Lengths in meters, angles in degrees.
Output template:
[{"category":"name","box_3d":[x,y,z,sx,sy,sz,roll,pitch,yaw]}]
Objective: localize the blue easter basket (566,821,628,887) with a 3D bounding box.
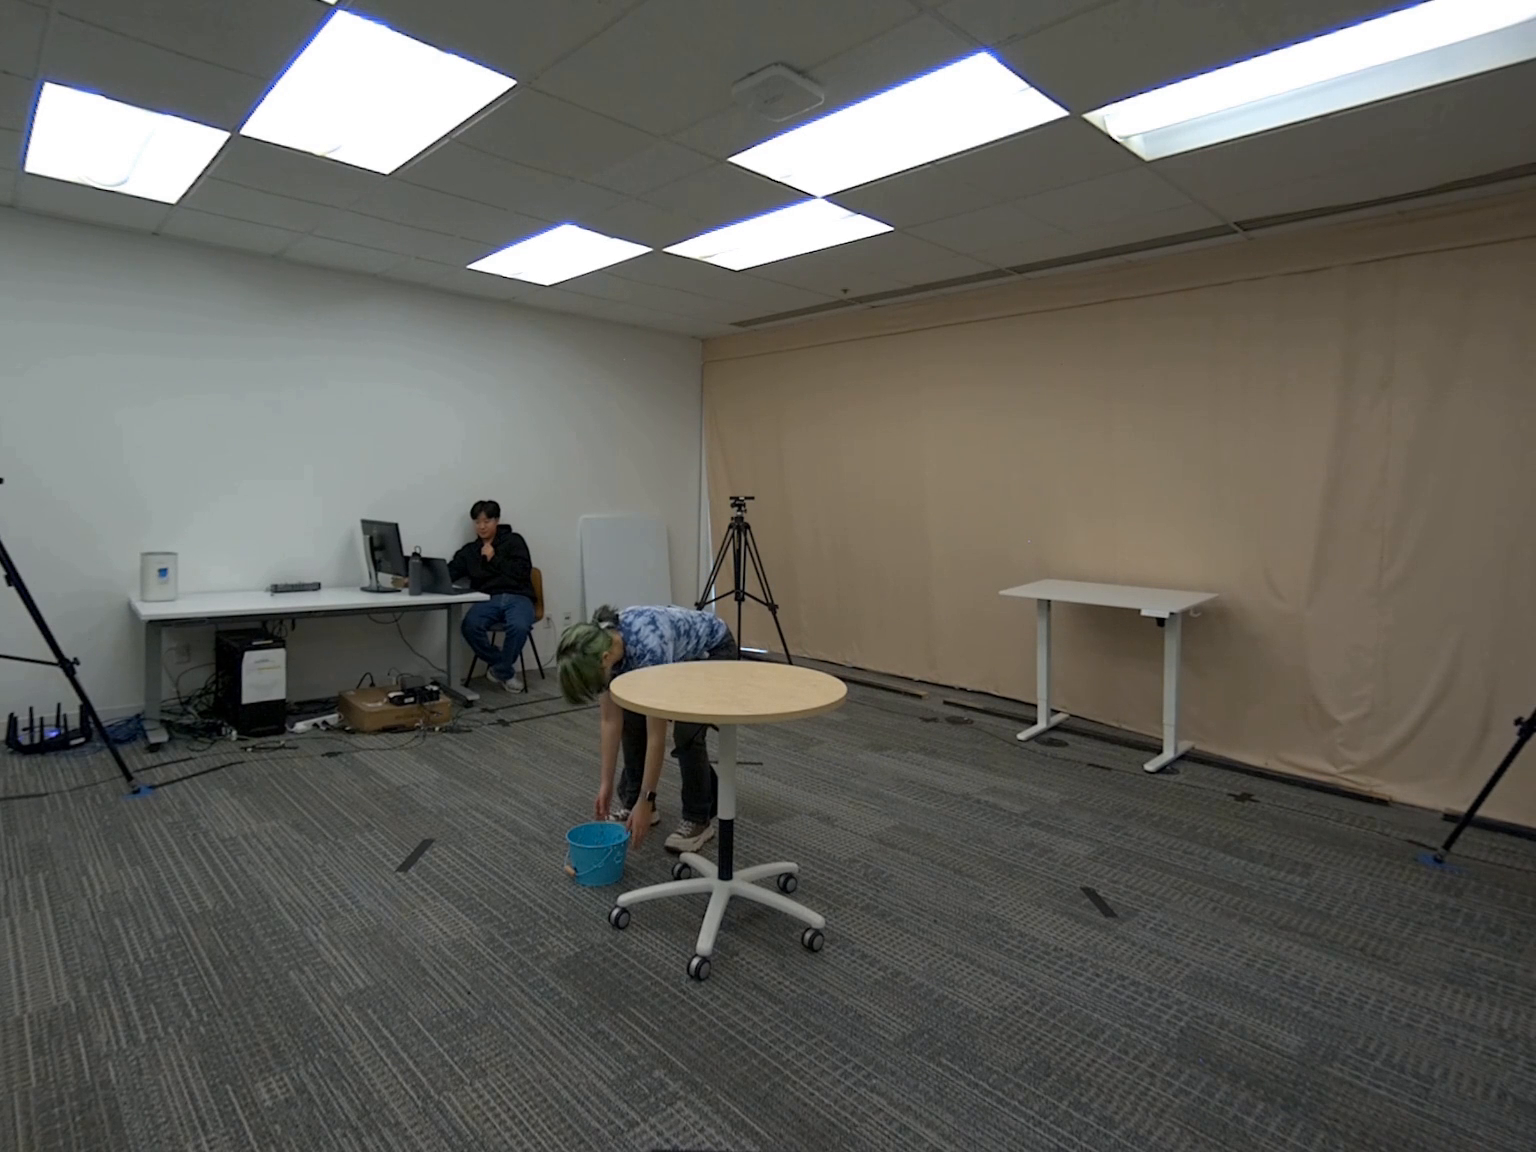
[{"category":"blue easter basket","box_3d":[-0.632,1.016,3.078,0.243,0.155,0.244,1,4,-1]}]
